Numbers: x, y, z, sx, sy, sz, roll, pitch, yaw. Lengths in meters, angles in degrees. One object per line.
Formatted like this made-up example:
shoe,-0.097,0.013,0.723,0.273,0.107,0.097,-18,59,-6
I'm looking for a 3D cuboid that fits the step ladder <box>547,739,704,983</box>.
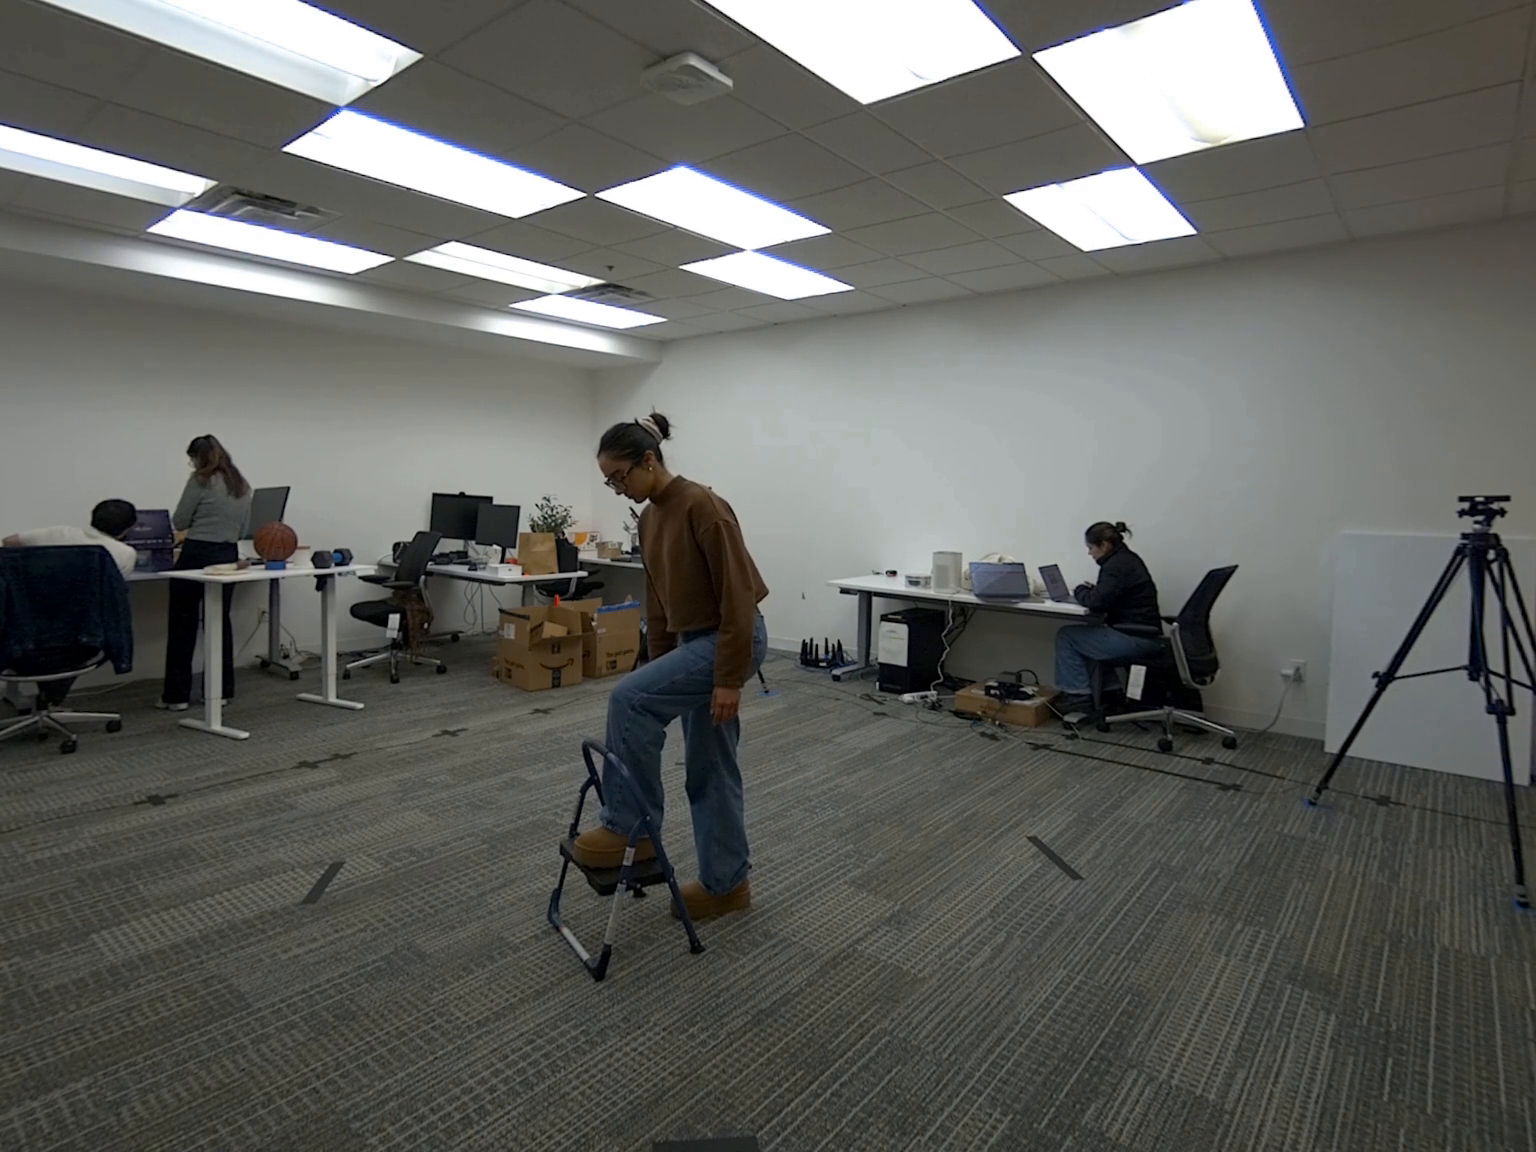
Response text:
step ladder,-0.458,0.809,2.624,0.339,0.604,0.444,-1,5,-34
